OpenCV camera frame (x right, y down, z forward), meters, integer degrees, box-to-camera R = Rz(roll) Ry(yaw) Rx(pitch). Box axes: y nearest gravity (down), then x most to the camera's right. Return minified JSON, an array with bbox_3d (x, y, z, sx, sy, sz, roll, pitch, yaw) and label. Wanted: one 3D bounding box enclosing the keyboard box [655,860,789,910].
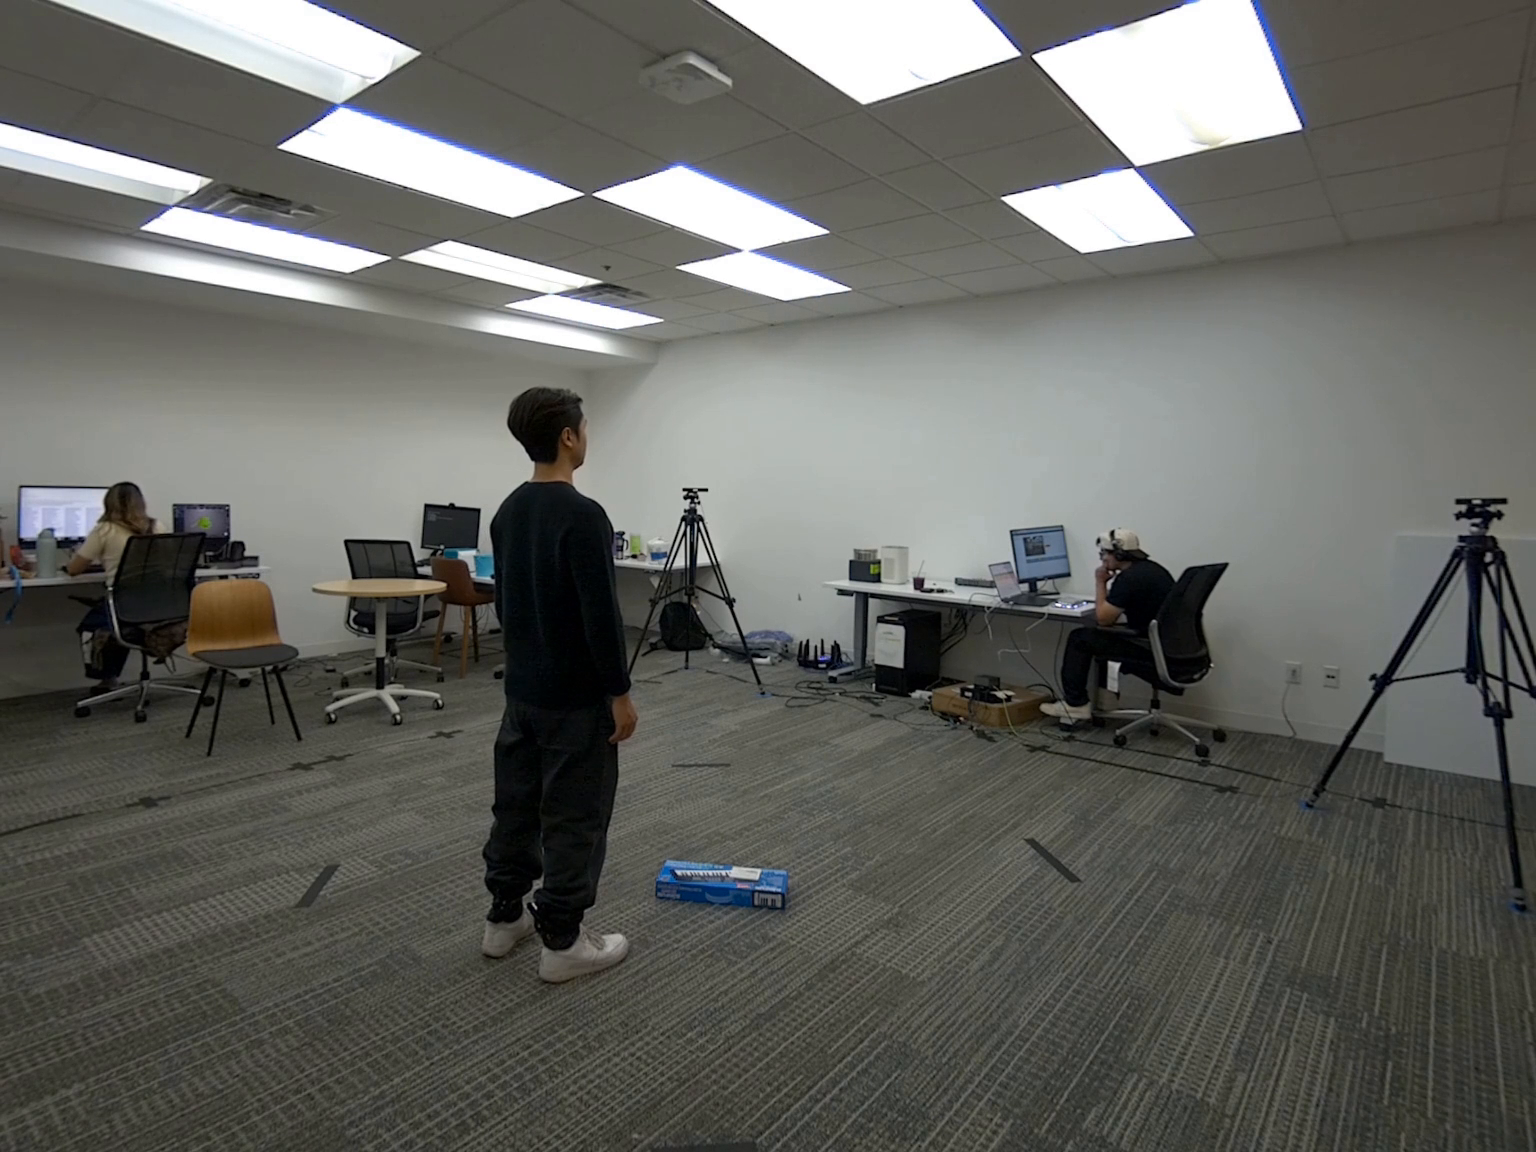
[{"bbox_3d":[-0.165,1.056,2.931,0.441,0.059,0.175,2,5,8],"label":"keyboard box"}]
